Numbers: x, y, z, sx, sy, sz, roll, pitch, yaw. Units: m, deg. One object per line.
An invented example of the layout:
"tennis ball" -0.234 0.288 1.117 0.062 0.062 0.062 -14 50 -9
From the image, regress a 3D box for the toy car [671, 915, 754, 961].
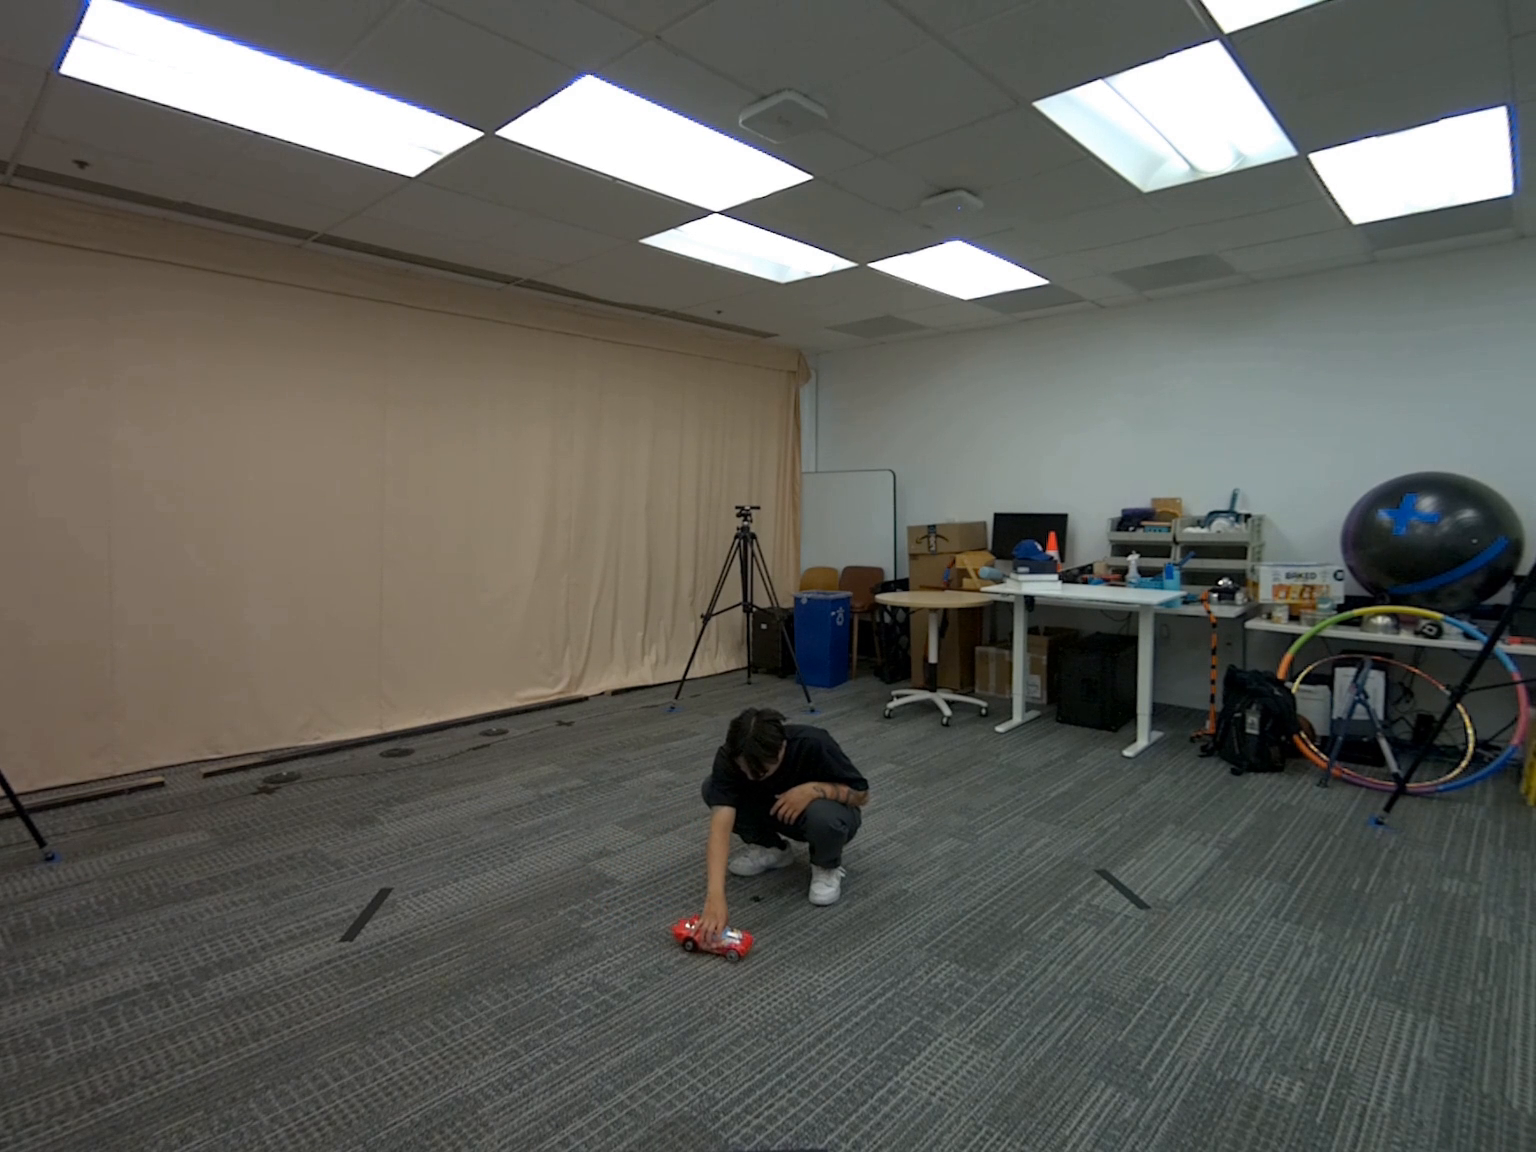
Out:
"toy car" -0.181 1.137 2.659 0.260 0.083 0.128 14 10 20
